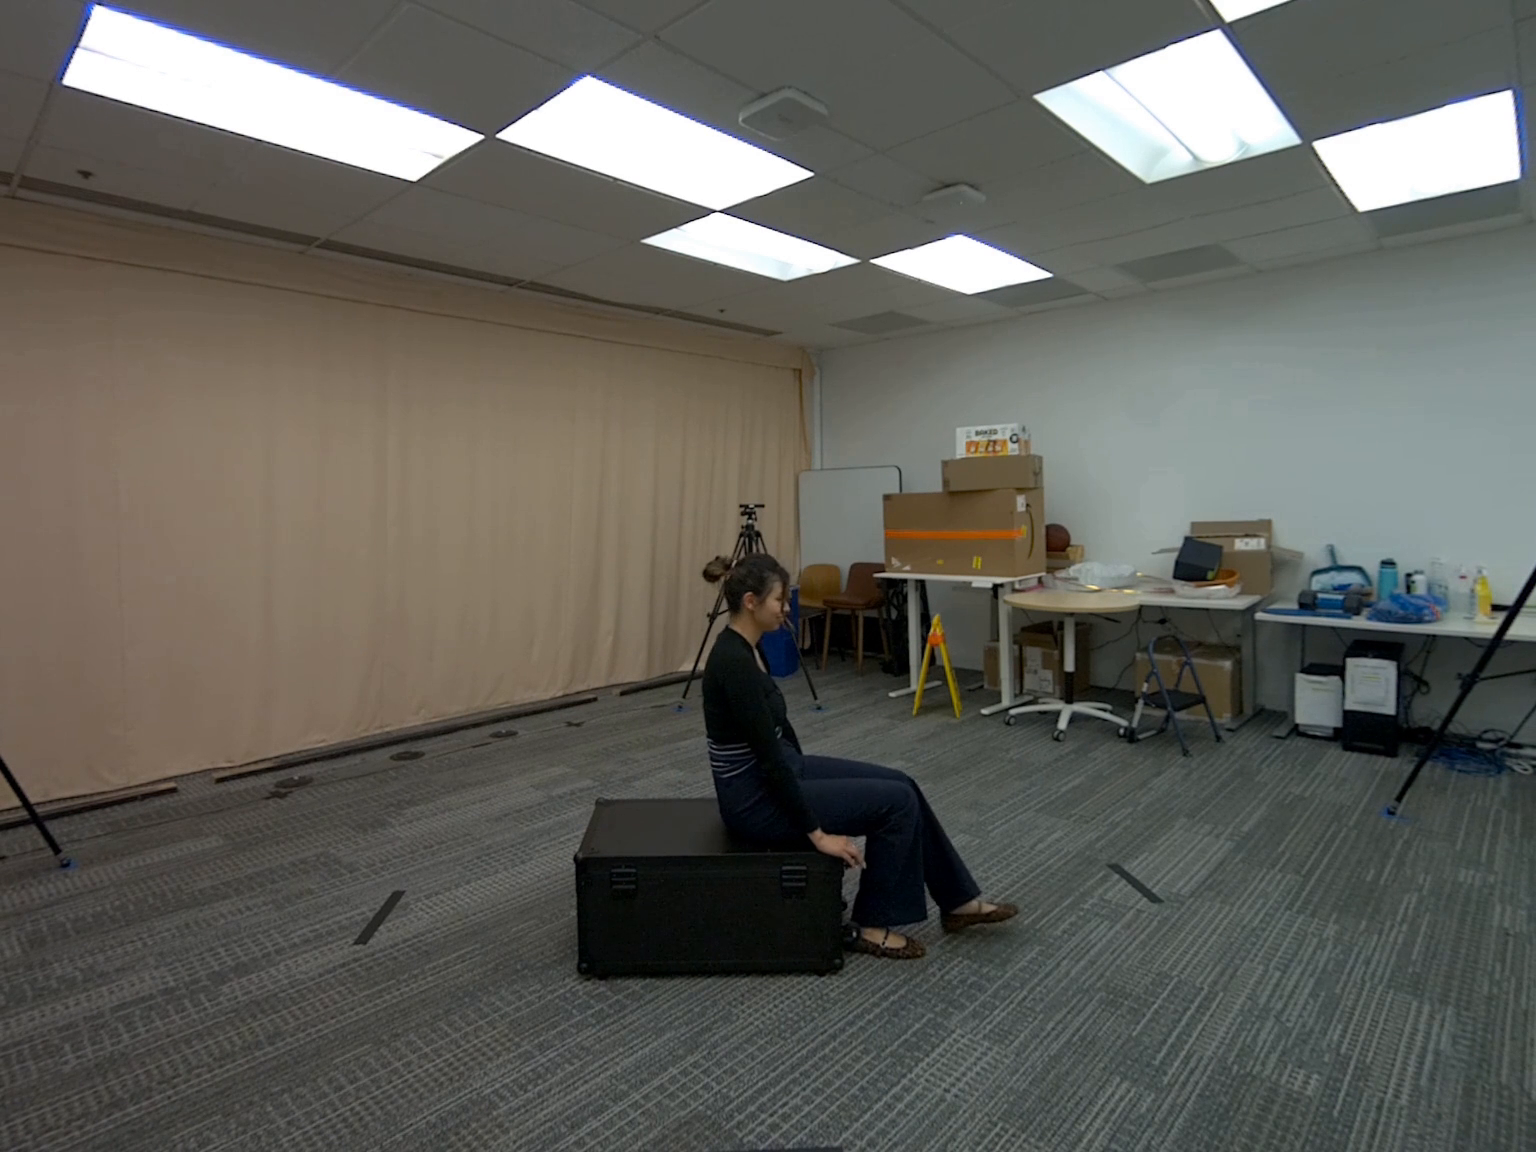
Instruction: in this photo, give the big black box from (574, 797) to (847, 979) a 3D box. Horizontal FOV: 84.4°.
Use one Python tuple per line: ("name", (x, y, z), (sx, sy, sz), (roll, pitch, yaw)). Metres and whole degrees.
("big black box", (-0.154, 0.975, 2.697), (0.861, 0.395, 0.523), (0, 4, -1))
